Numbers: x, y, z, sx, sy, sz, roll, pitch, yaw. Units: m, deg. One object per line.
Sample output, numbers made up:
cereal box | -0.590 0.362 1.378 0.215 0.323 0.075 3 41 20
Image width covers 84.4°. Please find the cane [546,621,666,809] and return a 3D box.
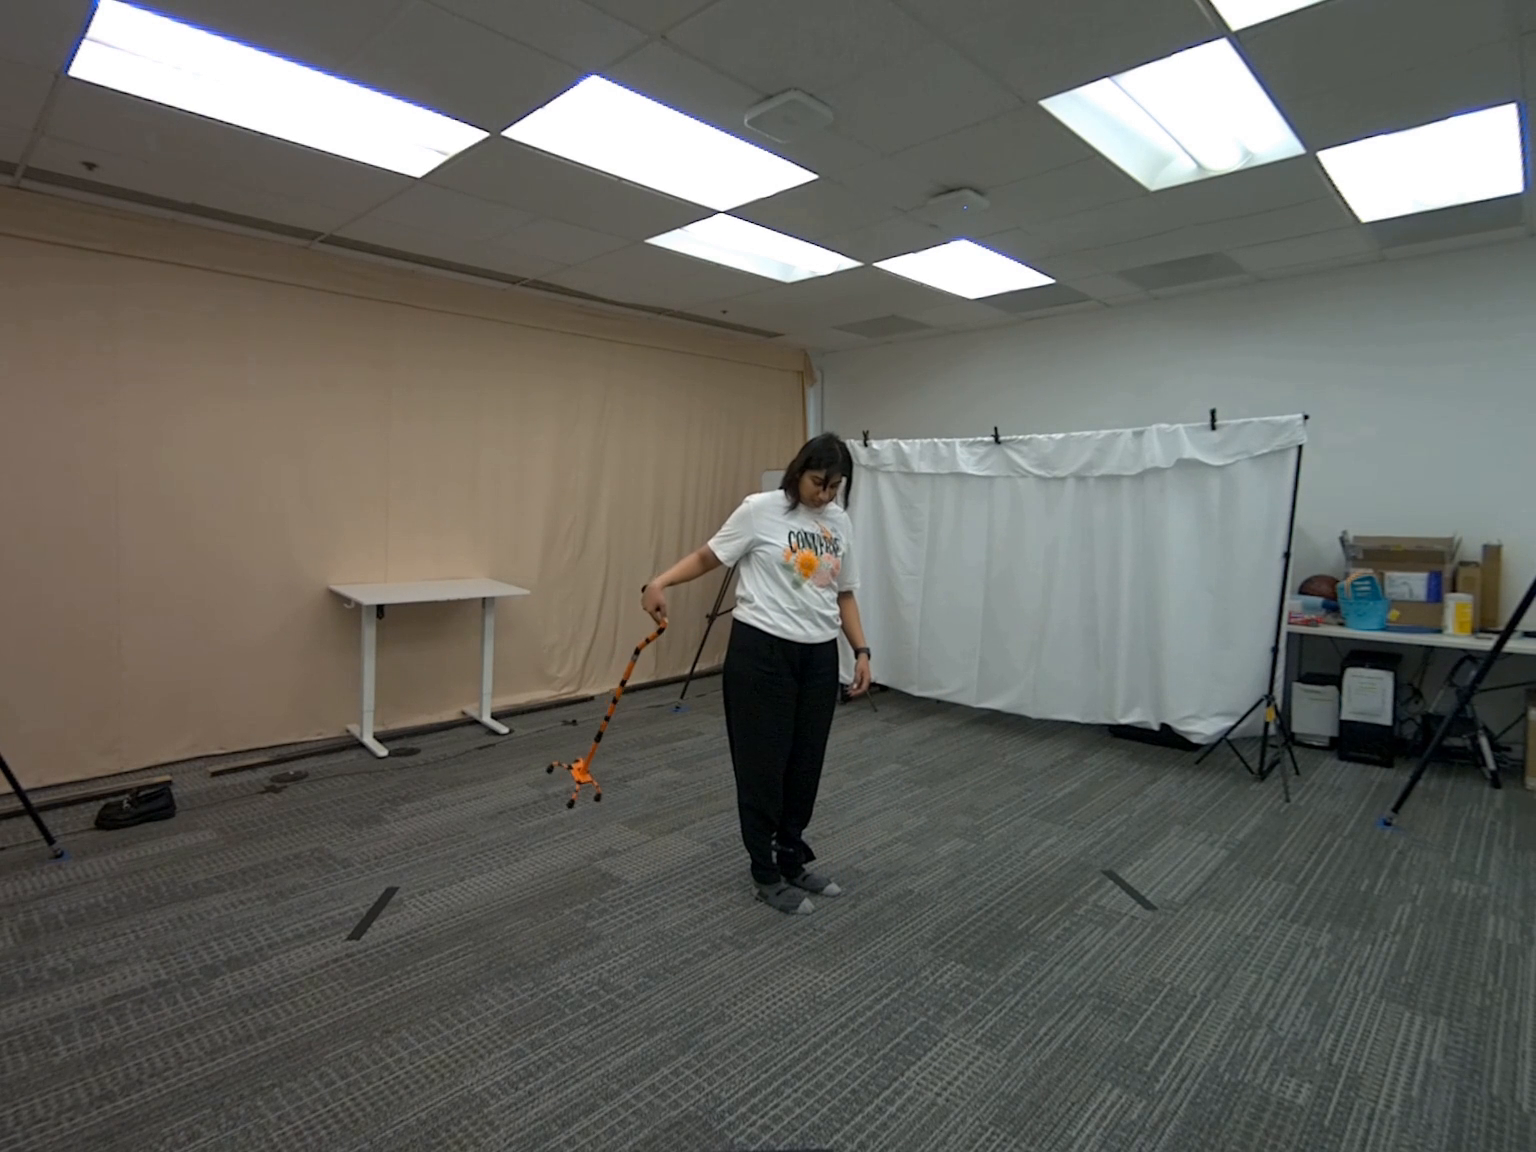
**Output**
cane | -0.564 0.466 3.046 0.147 0.906 0.214 0 36 -44
